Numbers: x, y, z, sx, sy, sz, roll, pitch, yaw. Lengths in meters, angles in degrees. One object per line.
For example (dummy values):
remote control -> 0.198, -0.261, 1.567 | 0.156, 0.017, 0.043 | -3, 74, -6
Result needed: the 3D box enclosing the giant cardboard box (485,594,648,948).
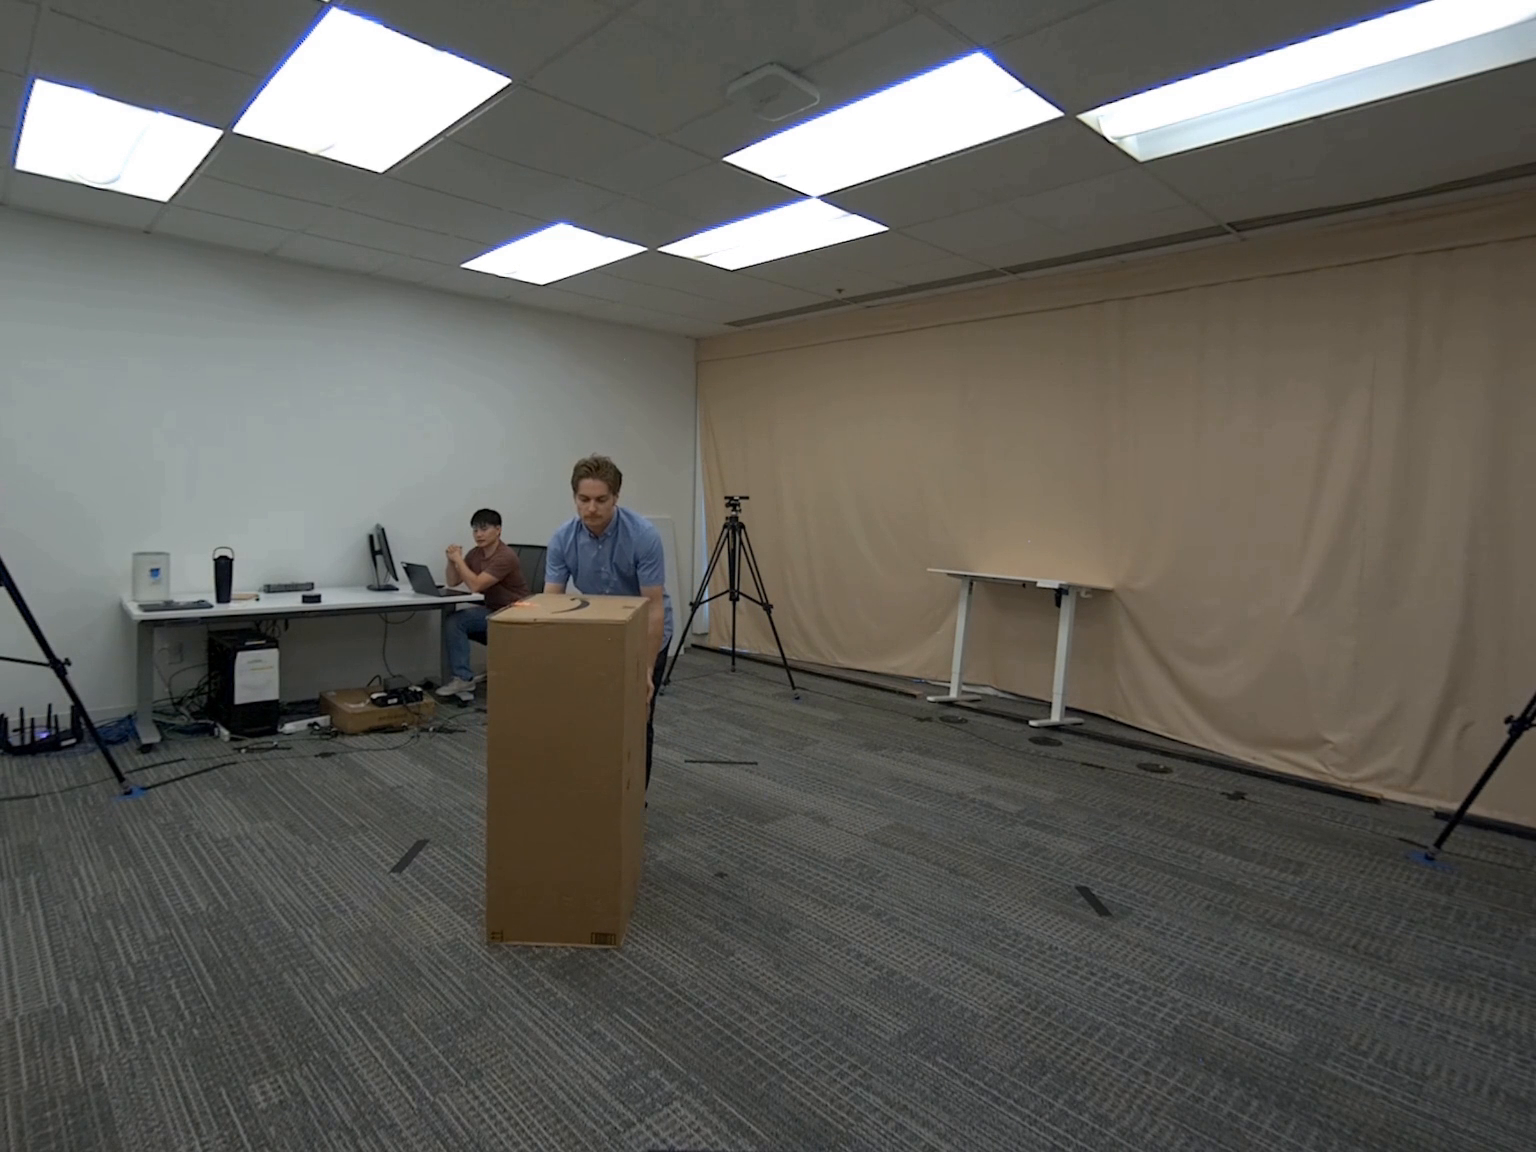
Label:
giant cardboard box -> -0.664, 0.607, 2.835 | 0.427, 1.023, 0.578 | 2, 4, 1
